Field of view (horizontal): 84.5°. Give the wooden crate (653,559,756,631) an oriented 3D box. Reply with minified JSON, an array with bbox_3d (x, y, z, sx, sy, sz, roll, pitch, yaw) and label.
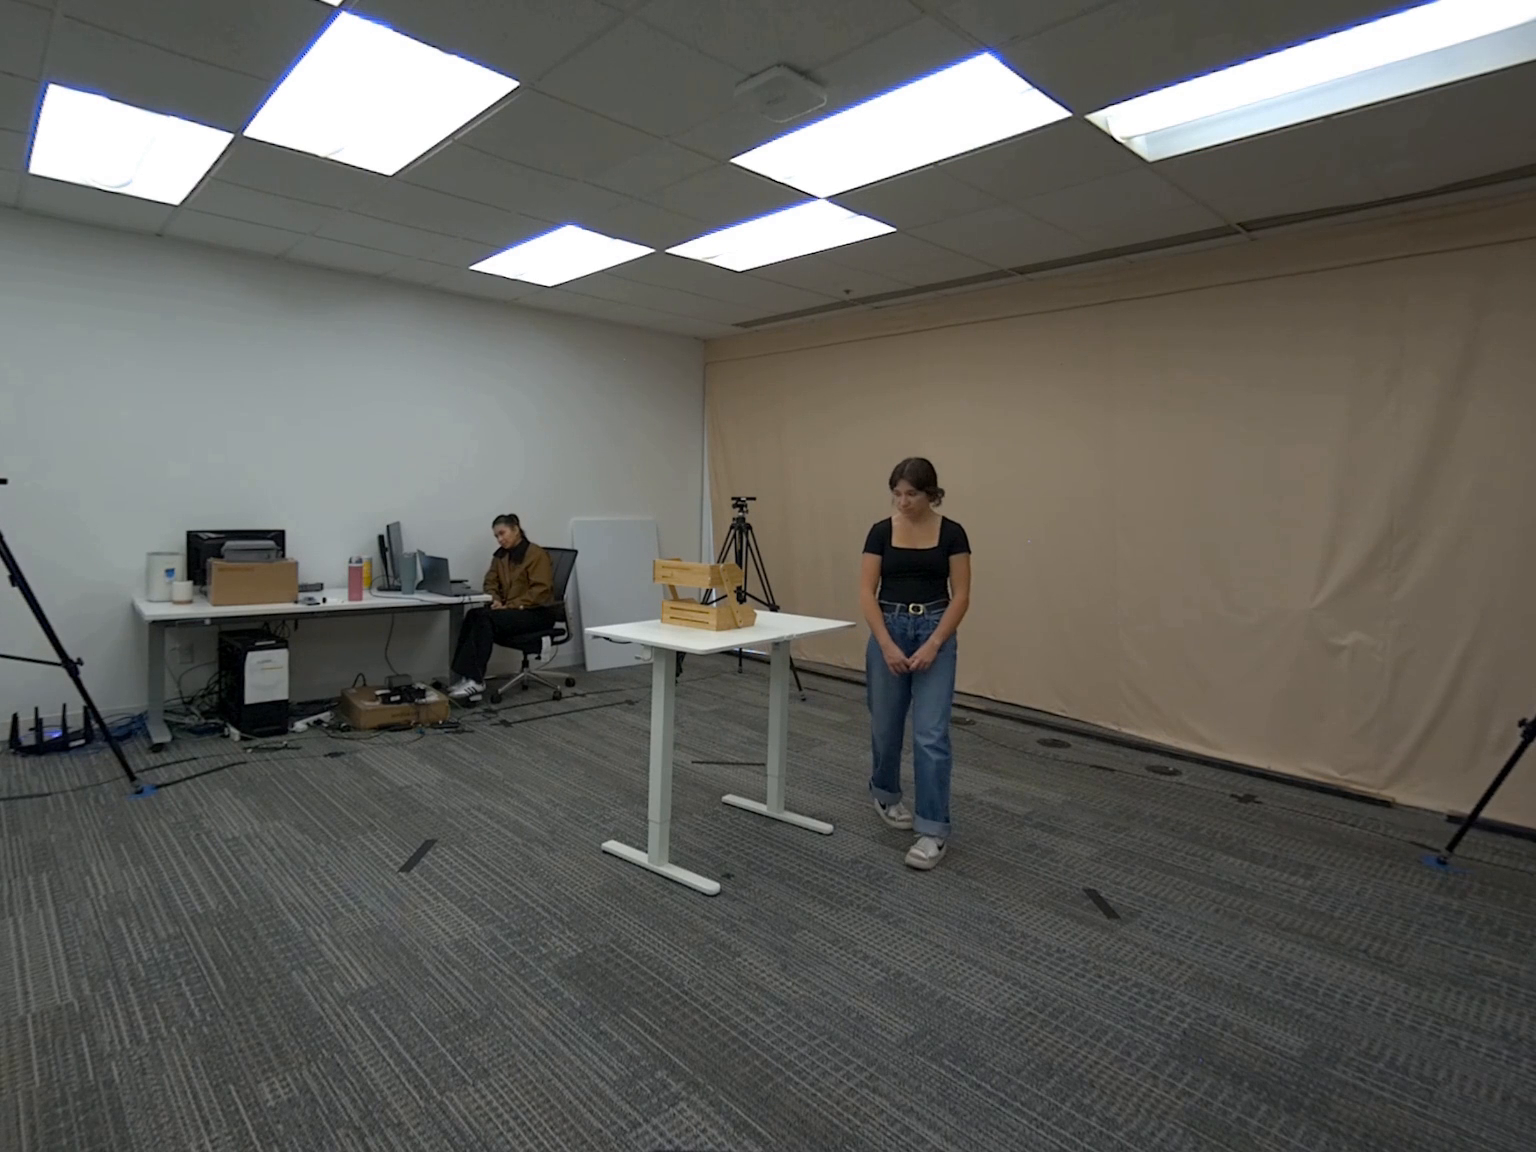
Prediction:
[{"bbox_3d":[-0.257,0.064,3.388,0.332,0.272,0.295,5,6,37],"label":"wooden crate"}]
